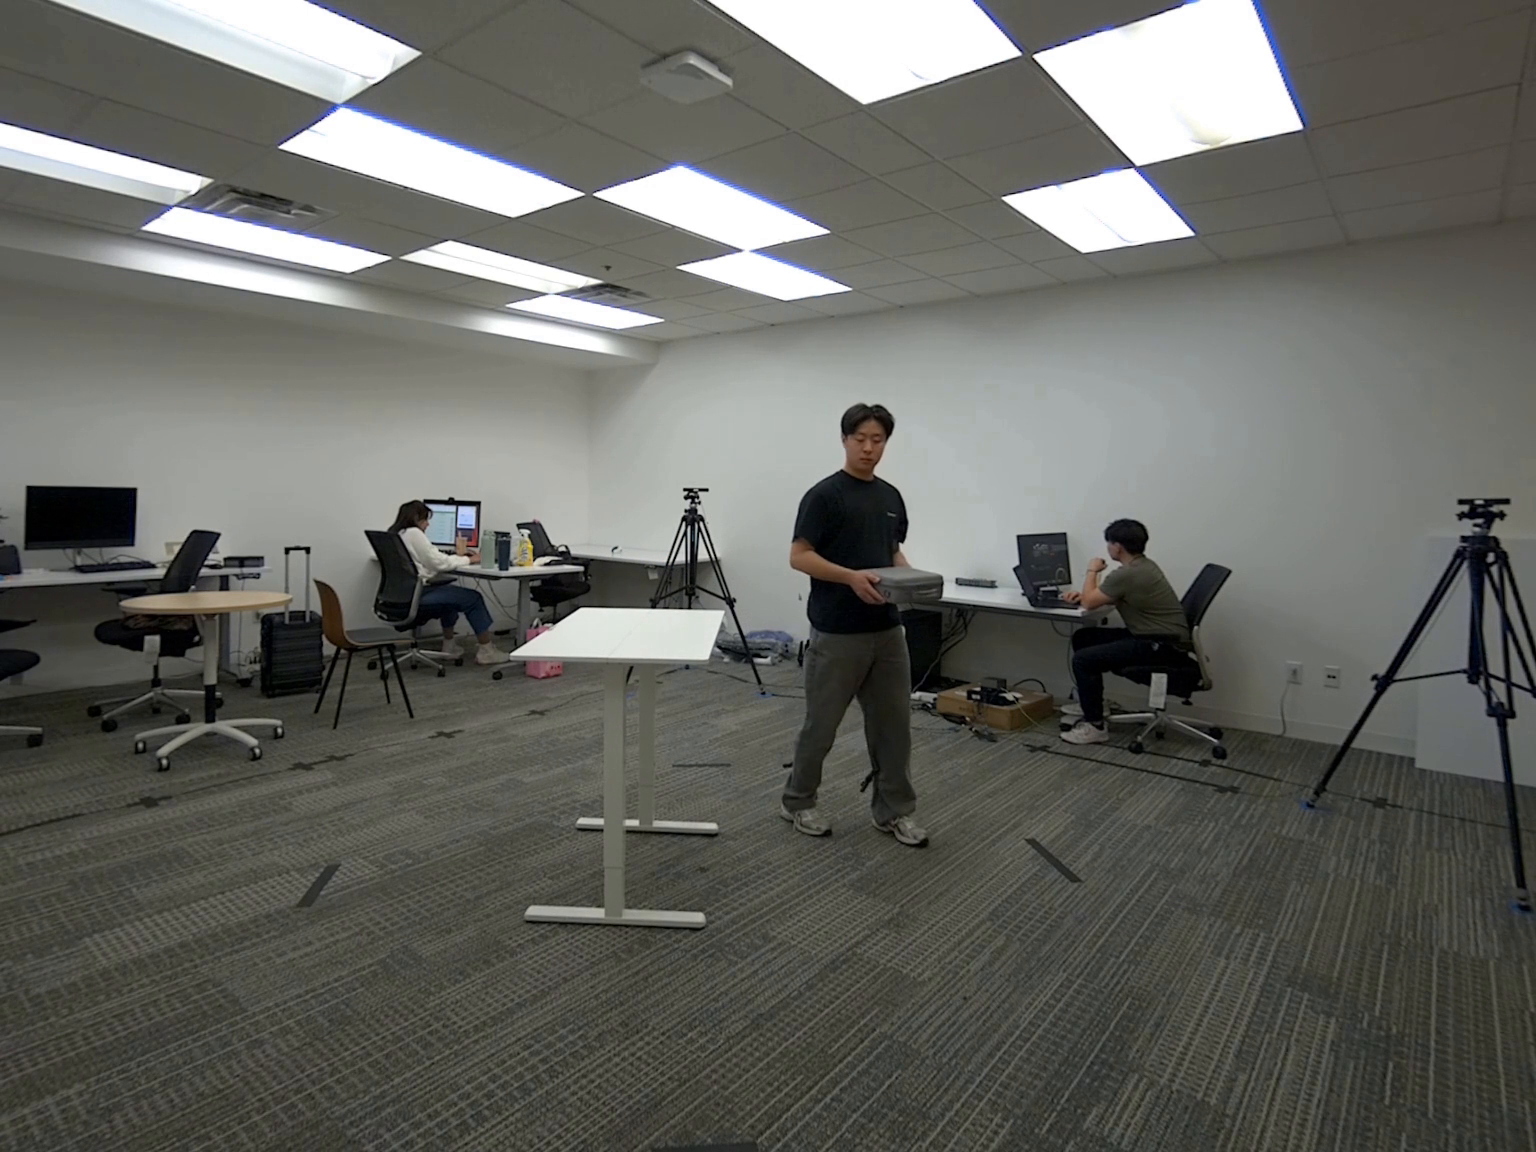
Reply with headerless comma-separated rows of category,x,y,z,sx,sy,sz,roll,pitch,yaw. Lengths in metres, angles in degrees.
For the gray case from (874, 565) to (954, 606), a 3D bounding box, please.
gray case,0.502,0.028,3.216,0.256,0.102,0.297,-3,9,-32
